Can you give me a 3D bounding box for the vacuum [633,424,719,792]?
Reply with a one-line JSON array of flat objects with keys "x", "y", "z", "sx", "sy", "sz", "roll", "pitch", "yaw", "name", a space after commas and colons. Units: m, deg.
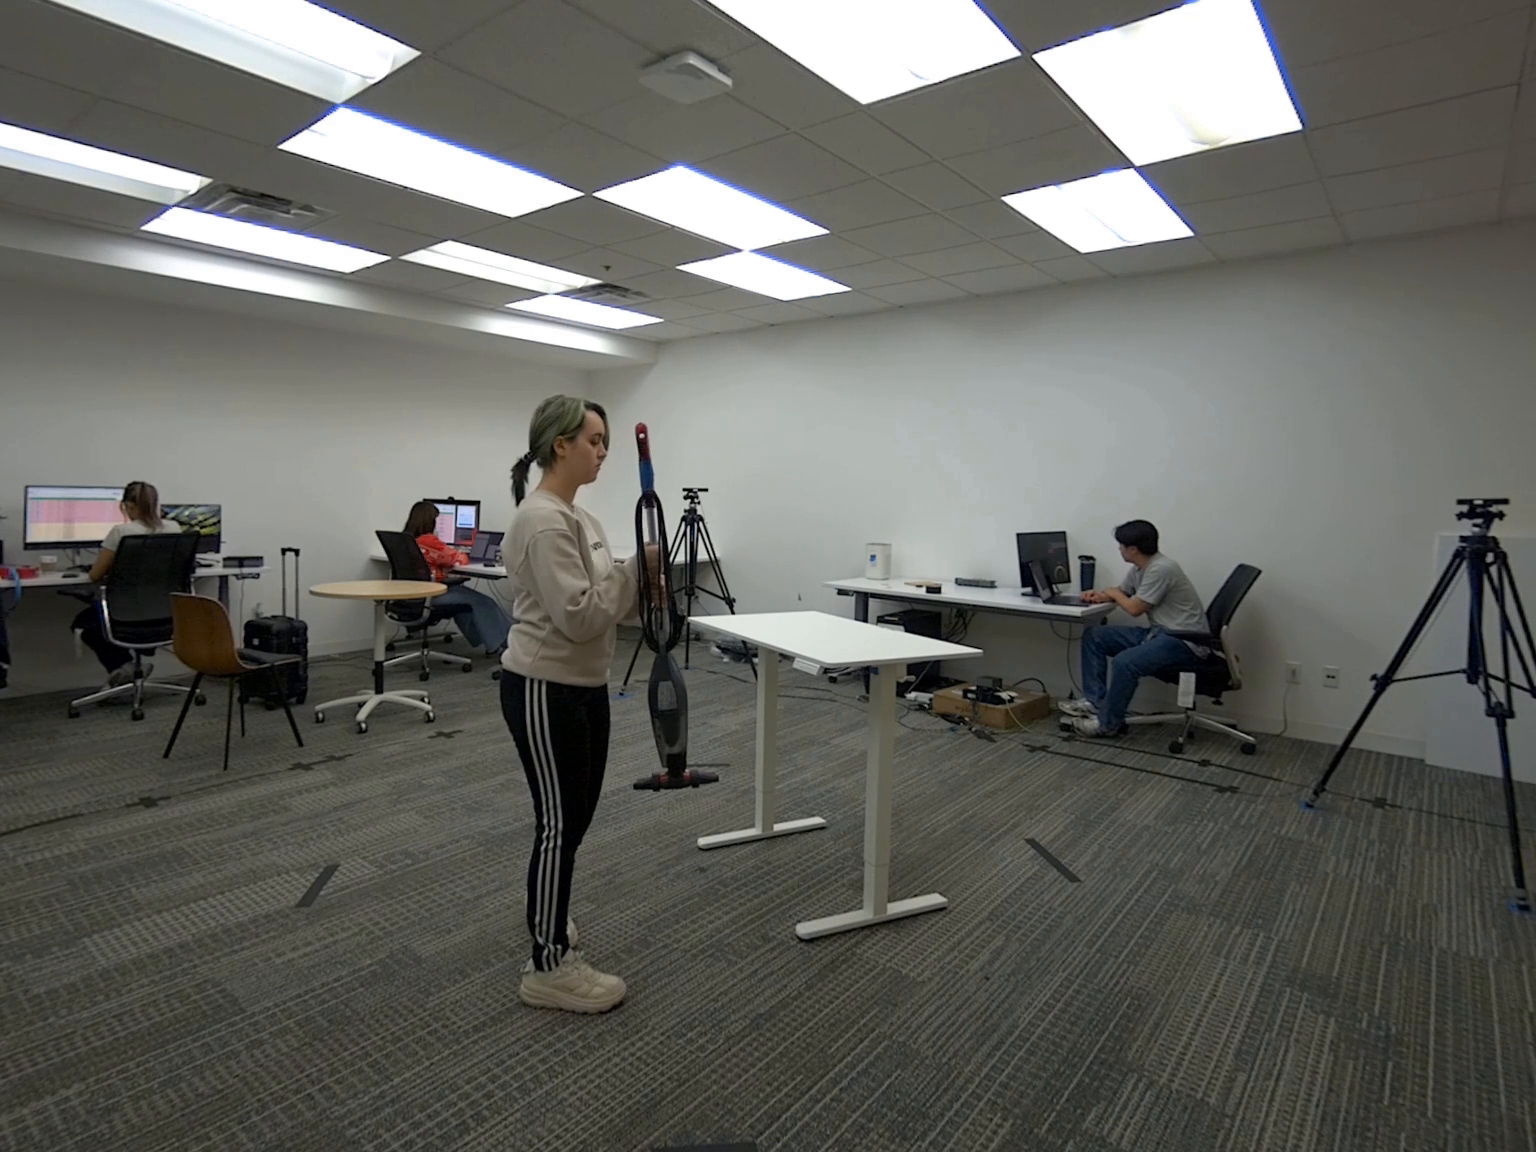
[{"x": -0.312, "y": 0.113, "z": 2.322, "sx": 0.255, "sy": 1.031, "sz": 0.145, "roll": -1, "pitch": 17, "yaw": 9, "name": "vacuum"}]
